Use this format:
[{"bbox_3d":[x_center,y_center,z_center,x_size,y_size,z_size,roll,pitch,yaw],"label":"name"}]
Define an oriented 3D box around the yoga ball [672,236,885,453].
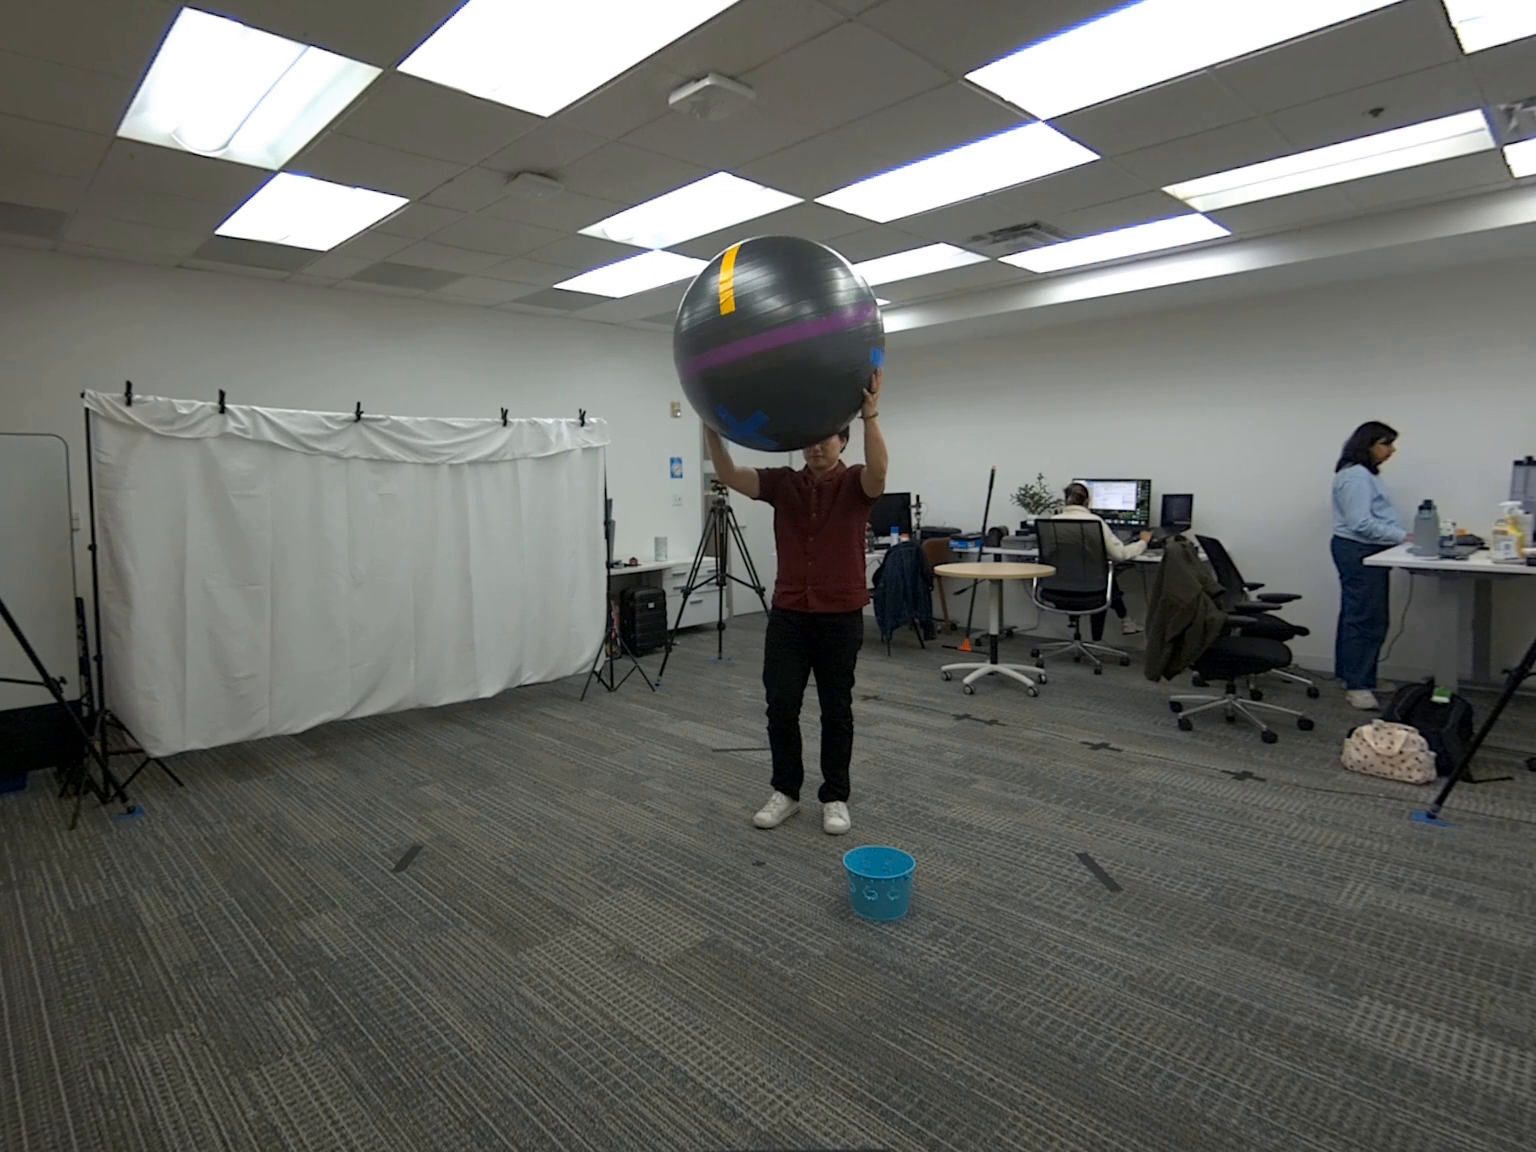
[{"bbox_3d":[0.035,-0.823,3.072,0.757,0.755,0.762,-1,5,-2],"label":"yoga ball"}]
